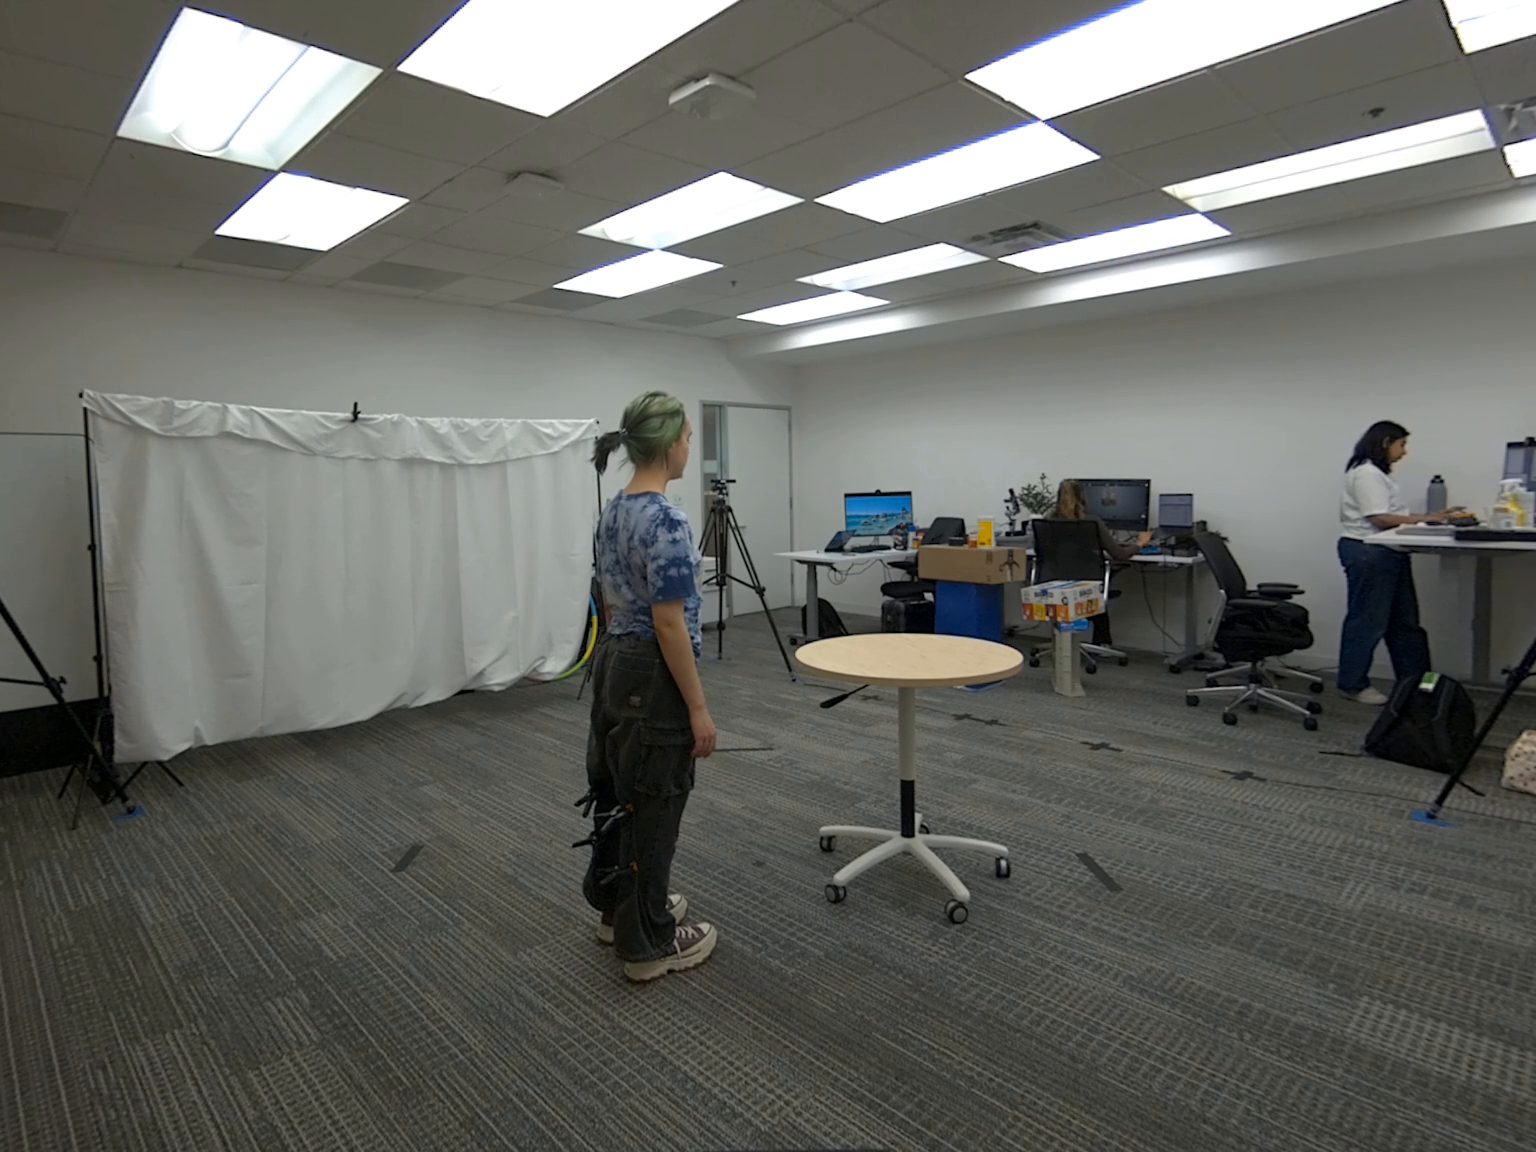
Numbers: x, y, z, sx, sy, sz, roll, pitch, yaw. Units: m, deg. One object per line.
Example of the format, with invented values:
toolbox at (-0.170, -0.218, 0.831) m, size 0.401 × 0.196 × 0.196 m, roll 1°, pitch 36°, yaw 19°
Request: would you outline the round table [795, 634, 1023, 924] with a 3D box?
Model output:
round table at (0.482, 0.662, 2.980) m, size 0.763 × 0.791 × 0.768 m, roll -1°, pitch 5°, yaw -2°
